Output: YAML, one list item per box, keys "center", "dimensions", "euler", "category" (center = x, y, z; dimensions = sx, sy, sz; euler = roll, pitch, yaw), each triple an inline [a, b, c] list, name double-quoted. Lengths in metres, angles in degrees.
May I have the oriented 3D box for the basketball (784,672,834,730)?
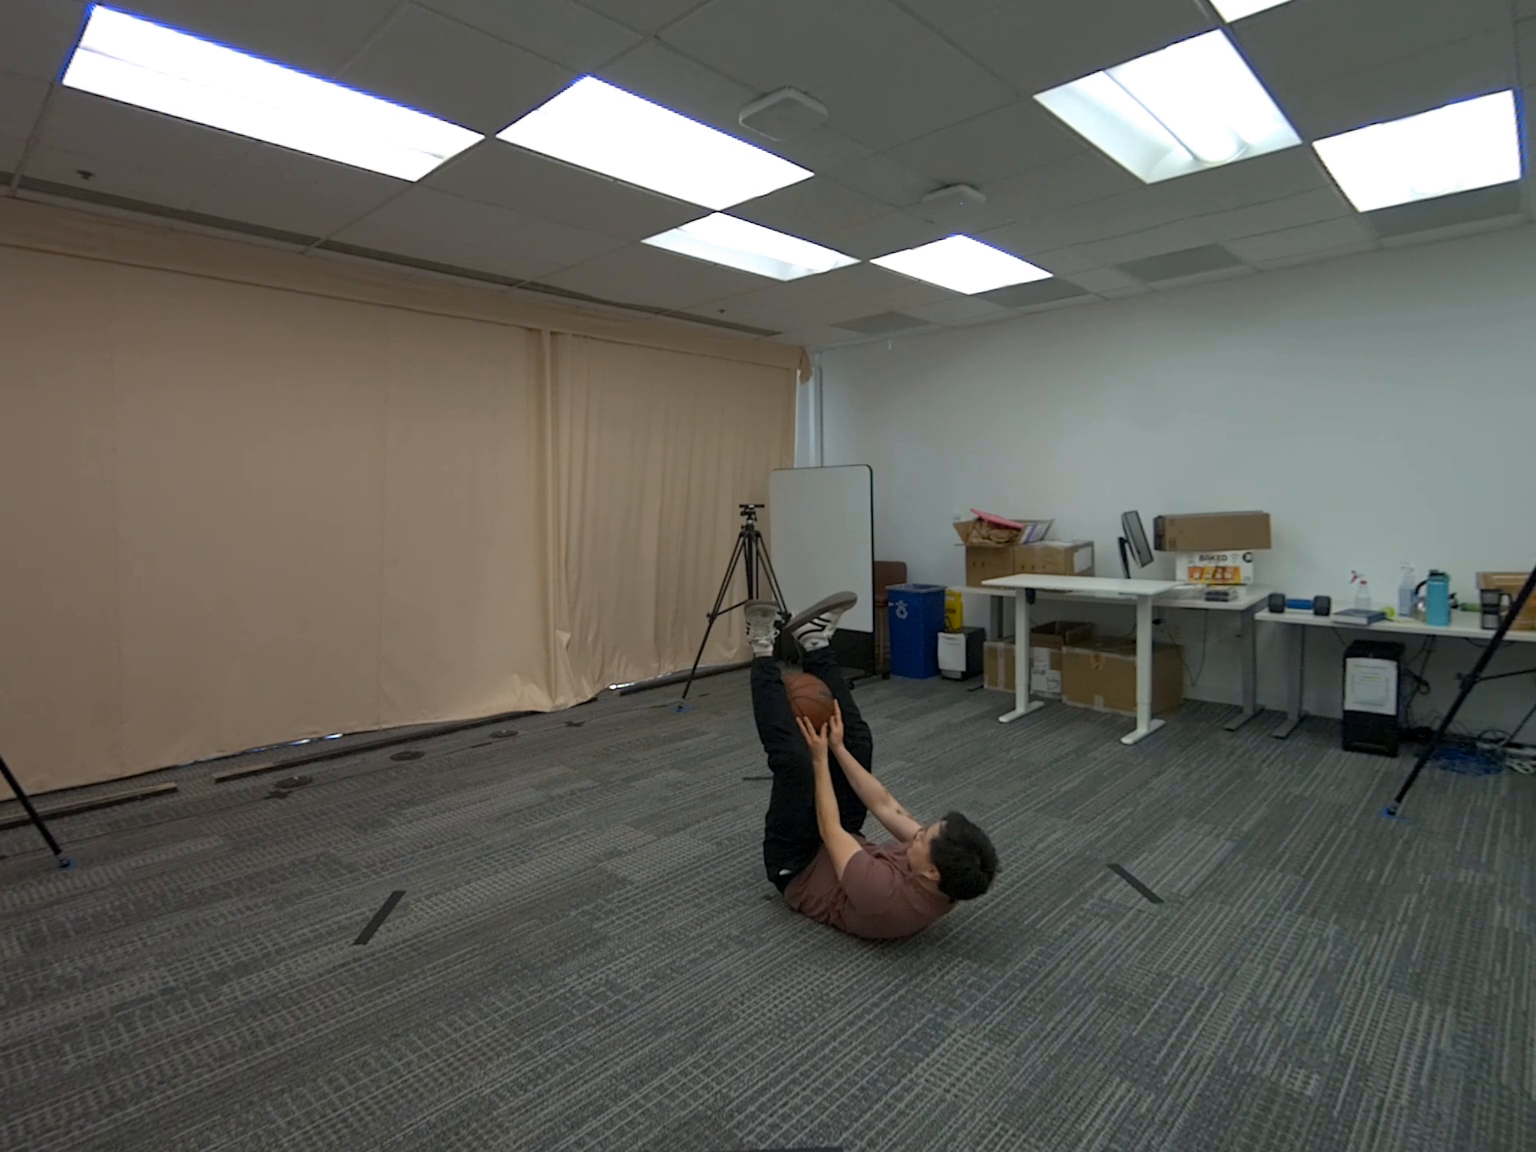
- center: [0.124, 0.468, 2.997]
  dimensions: [0.236, 0.235, 0.236]
  euler: [-1, 3, -2]
  category: "basketball"
